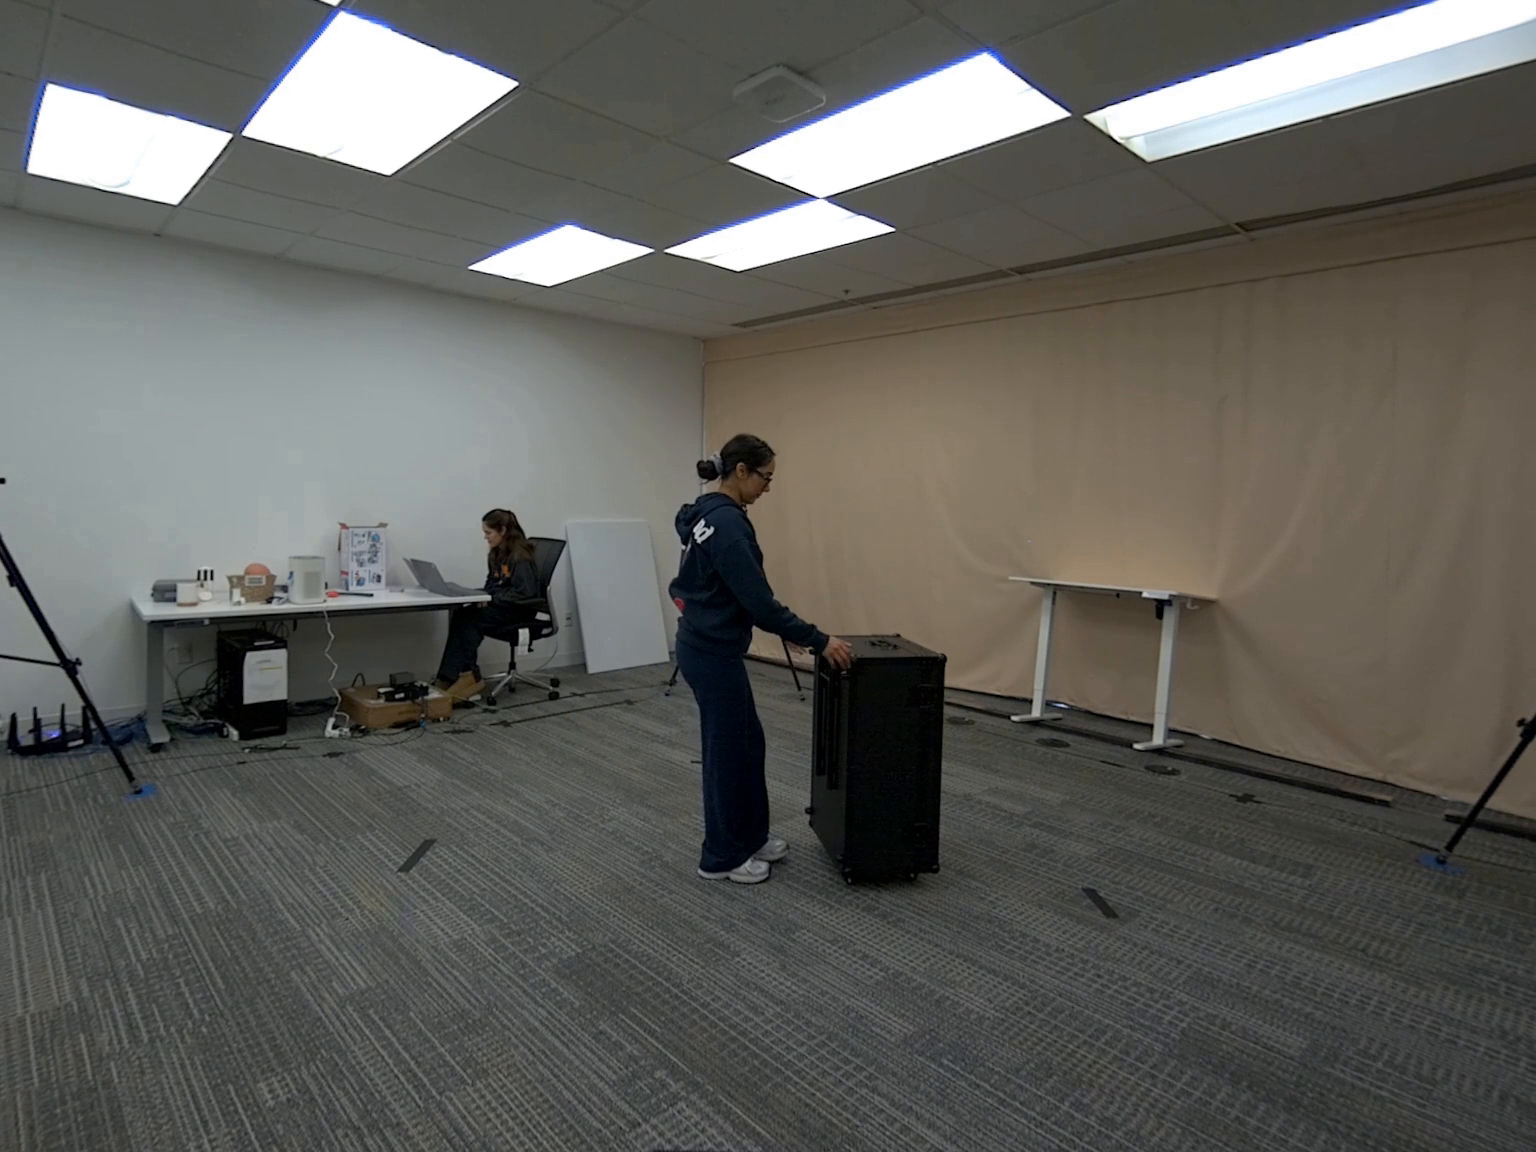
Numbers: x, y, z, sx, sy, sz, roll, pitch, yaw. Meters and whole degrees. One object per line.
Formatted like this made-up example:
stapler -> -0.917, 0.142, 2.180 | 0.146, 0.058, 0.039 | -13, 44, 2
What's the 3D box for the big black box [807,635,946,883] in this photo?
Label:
big black box -> 0.387, 0.684, 3.195 | 0.393, 0.858, 0.528 | -2, 5, -12
